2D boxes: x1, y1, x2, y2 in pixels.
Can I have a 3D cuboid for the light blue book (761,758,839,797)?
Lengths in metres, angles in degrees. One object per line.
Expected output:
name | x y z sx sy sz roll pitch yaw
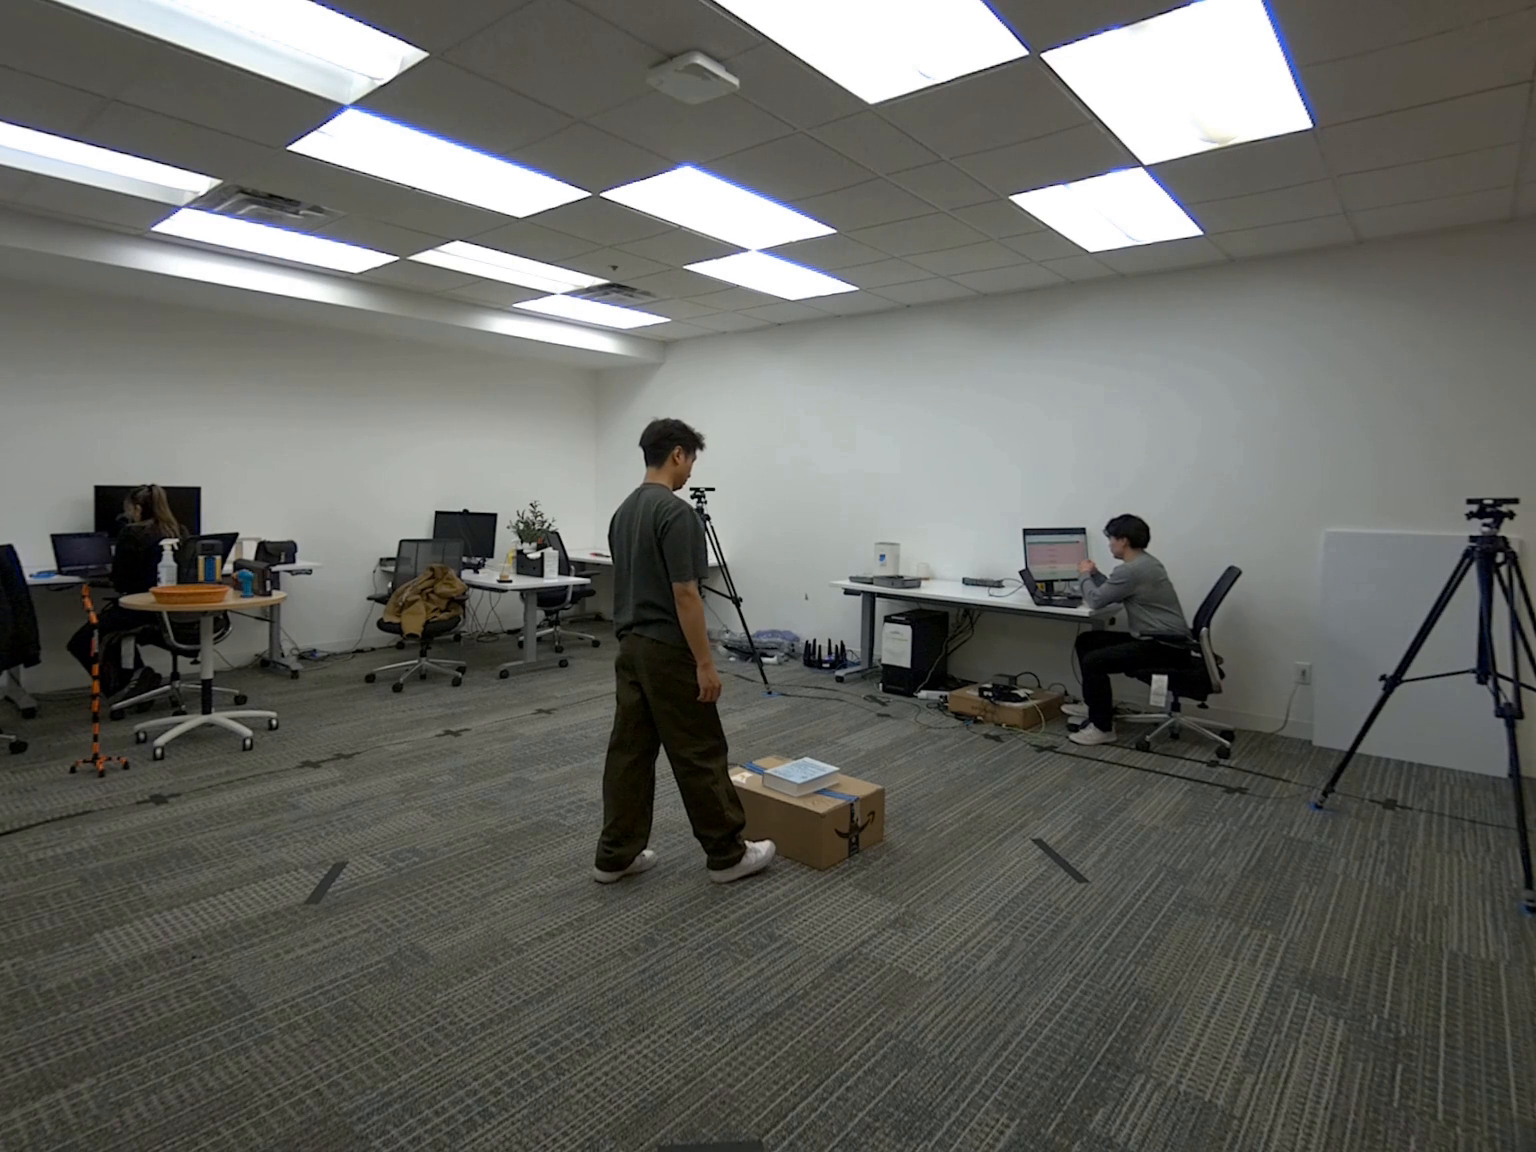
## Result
light blue book | 0.125 0.802 3.431 0.198 0.059 0.253 8 9 44
